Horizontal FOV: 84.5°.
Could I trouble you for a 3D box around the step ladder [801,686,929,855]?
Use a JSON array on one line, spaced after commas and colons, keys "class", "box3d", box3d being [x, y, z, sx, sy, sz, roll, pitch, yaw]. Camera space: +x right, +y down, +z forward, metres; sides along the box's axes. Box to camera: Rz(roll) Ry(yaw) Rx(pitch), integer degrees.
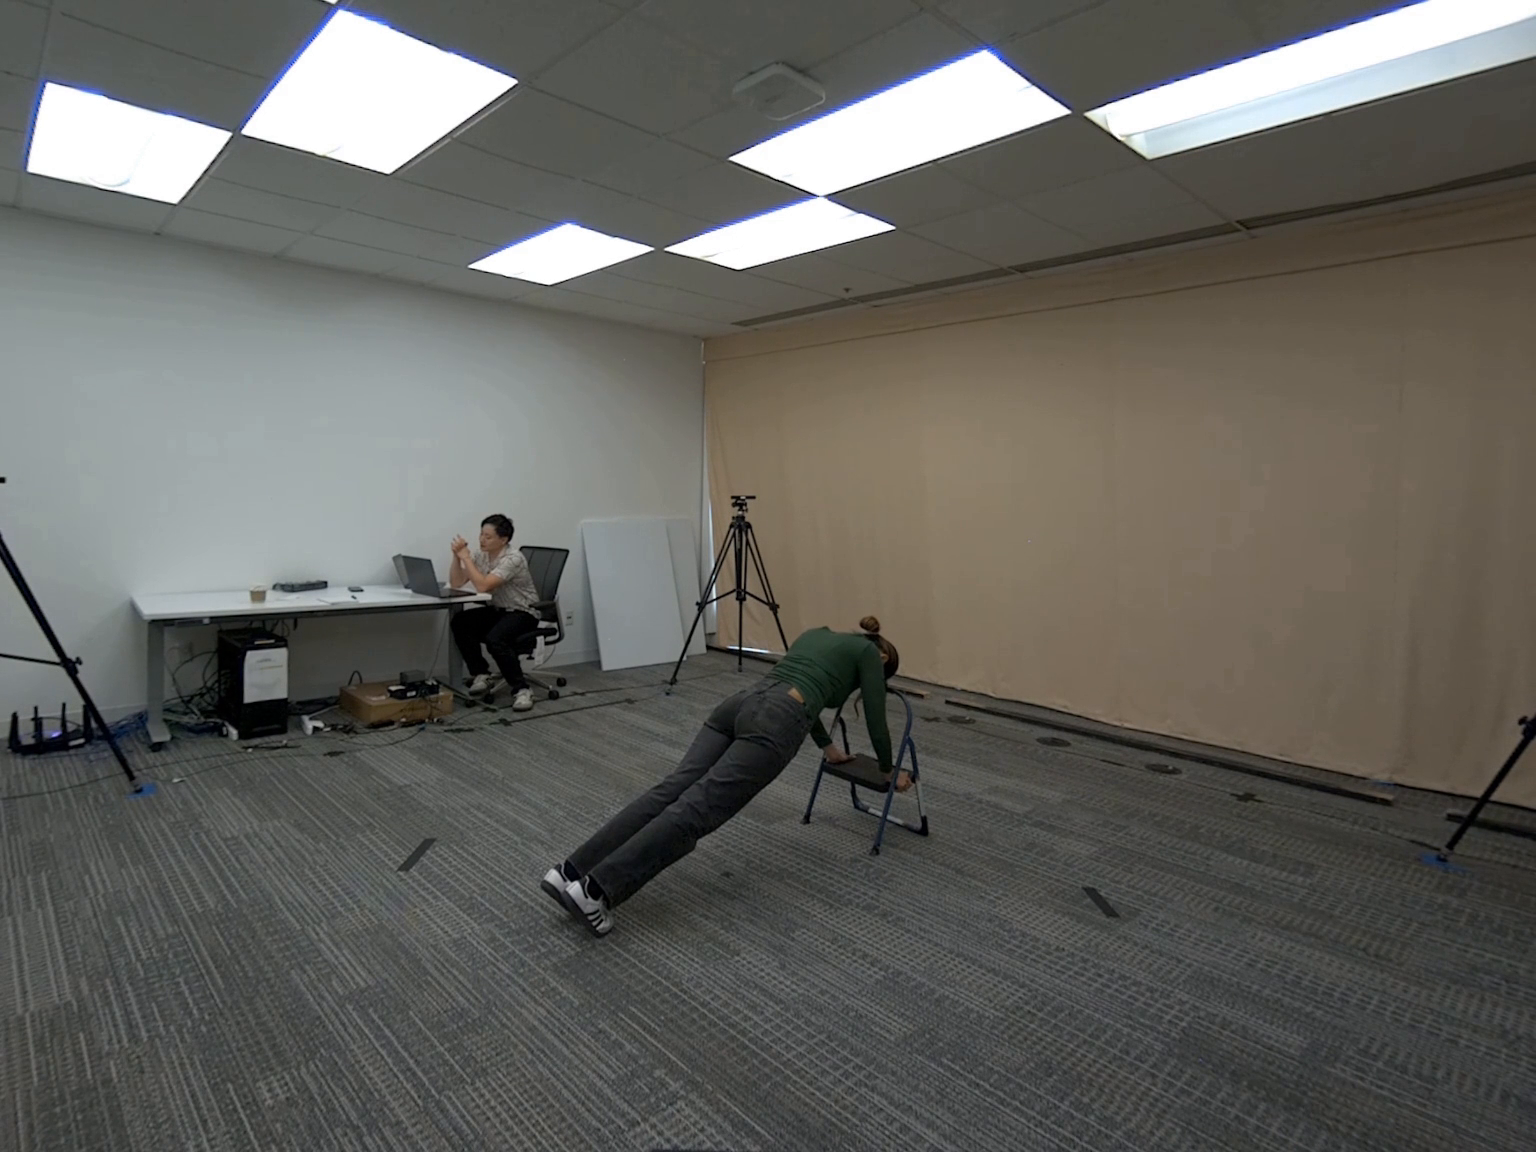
[{"class": "step ladder", "box3d": [0.411, 0.775, 3.556, 0.341, 0.605, 0.441, -1, 4, -40]}]
